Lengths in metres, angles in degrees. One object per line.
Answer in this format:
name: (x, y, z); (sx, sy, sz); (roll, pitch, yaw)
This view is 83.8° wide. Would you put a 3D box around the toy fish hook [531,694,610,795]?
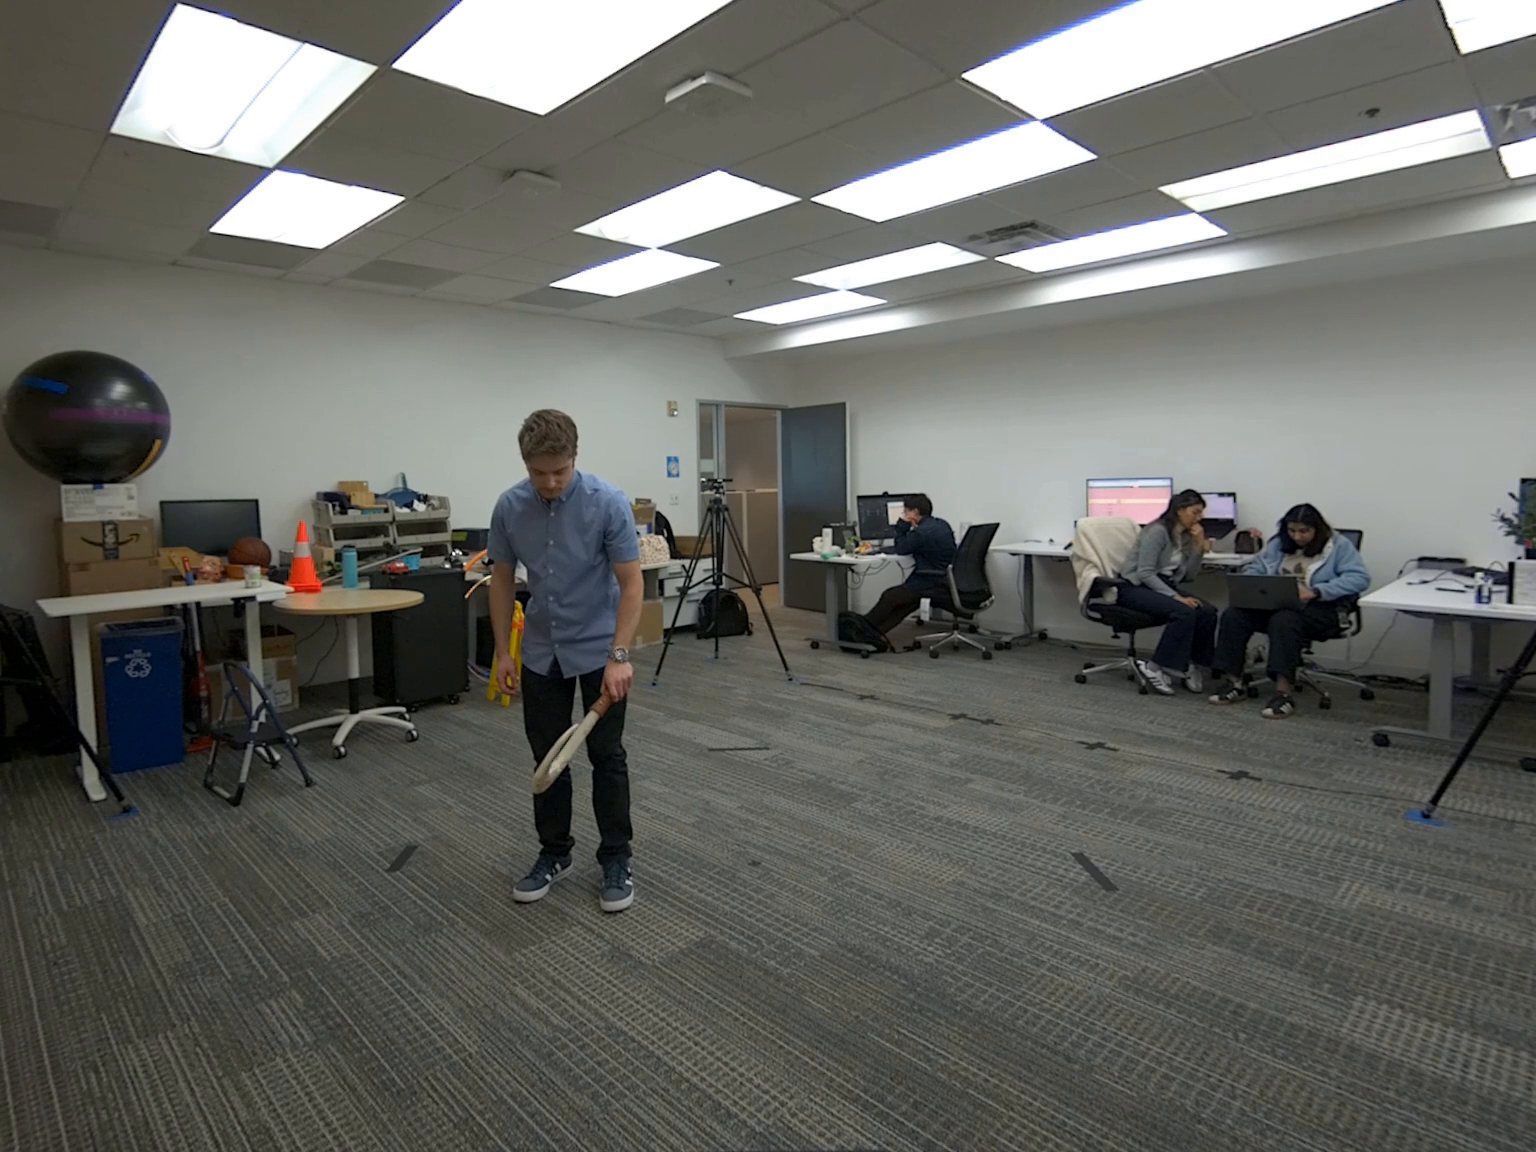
toy fish hook: (-0.558, 0.448, 2.594); (0.048, 0.509, 0.222); (31, -37, 2)
